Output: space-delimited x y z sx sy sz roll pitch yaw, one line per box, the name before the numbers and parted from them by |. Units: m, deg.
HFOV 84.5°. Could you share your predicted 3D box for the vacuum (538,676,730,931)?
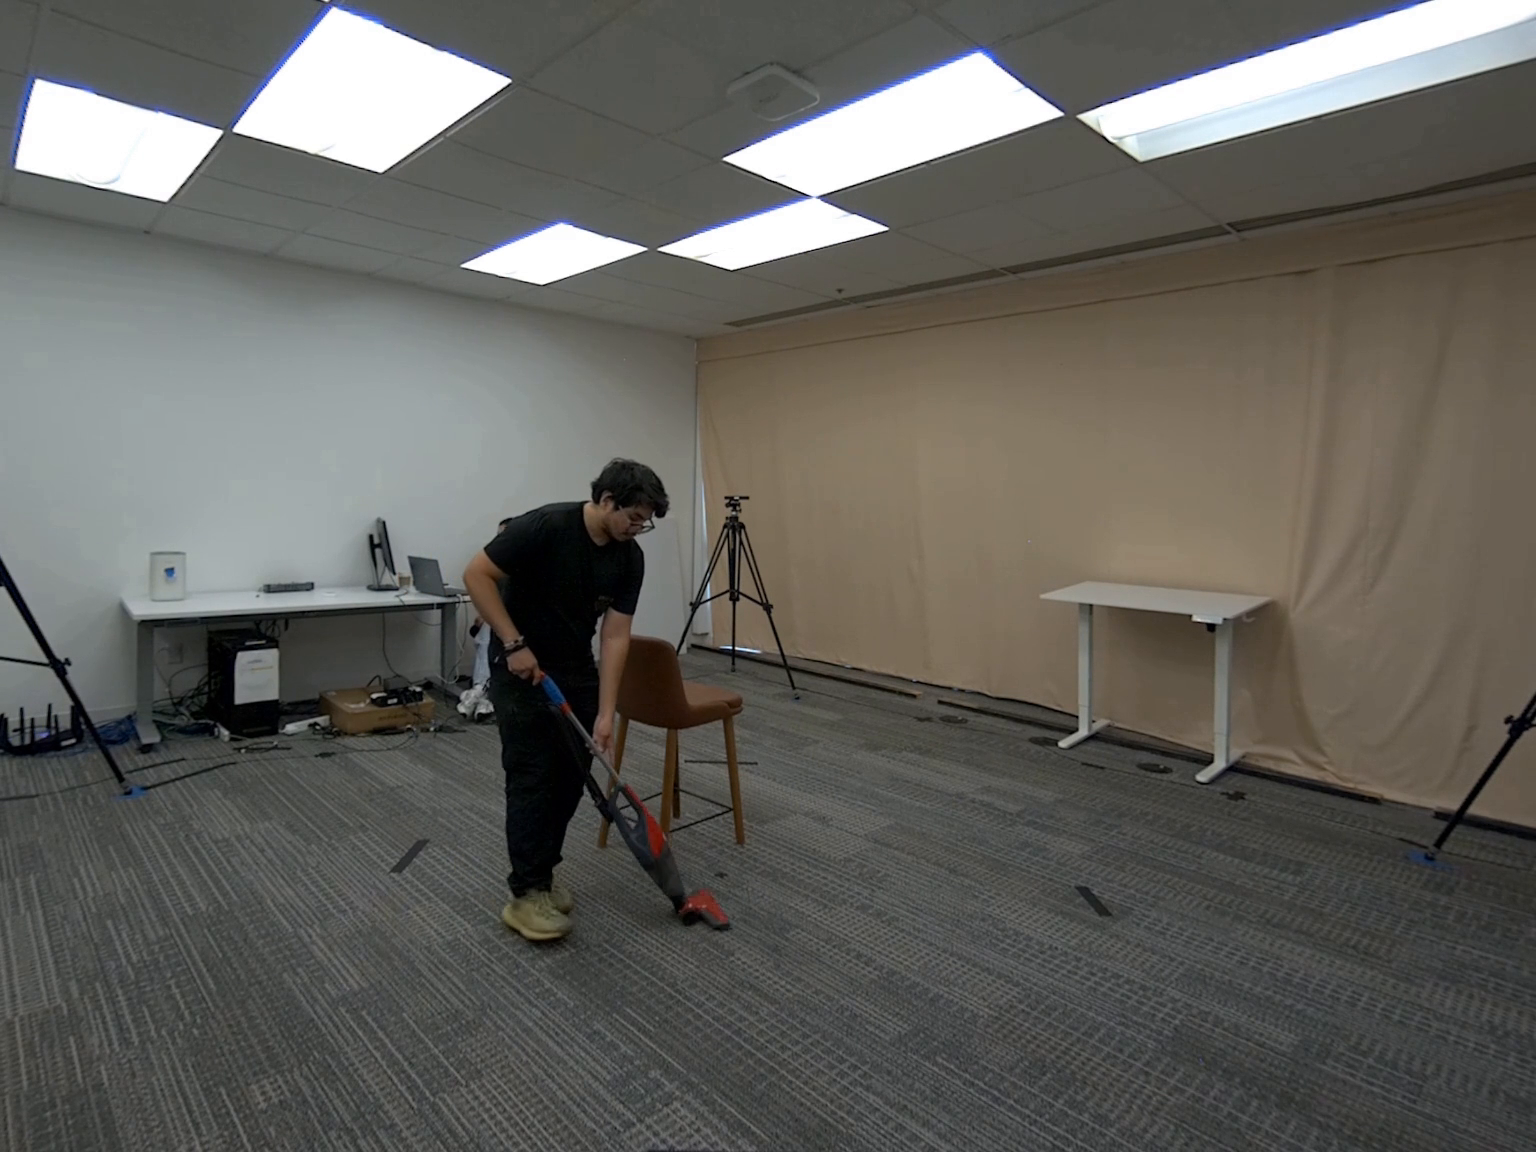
vacuum | -0.498 0.704 2.682 0.143 1.034 0.257 -36 15 -15
